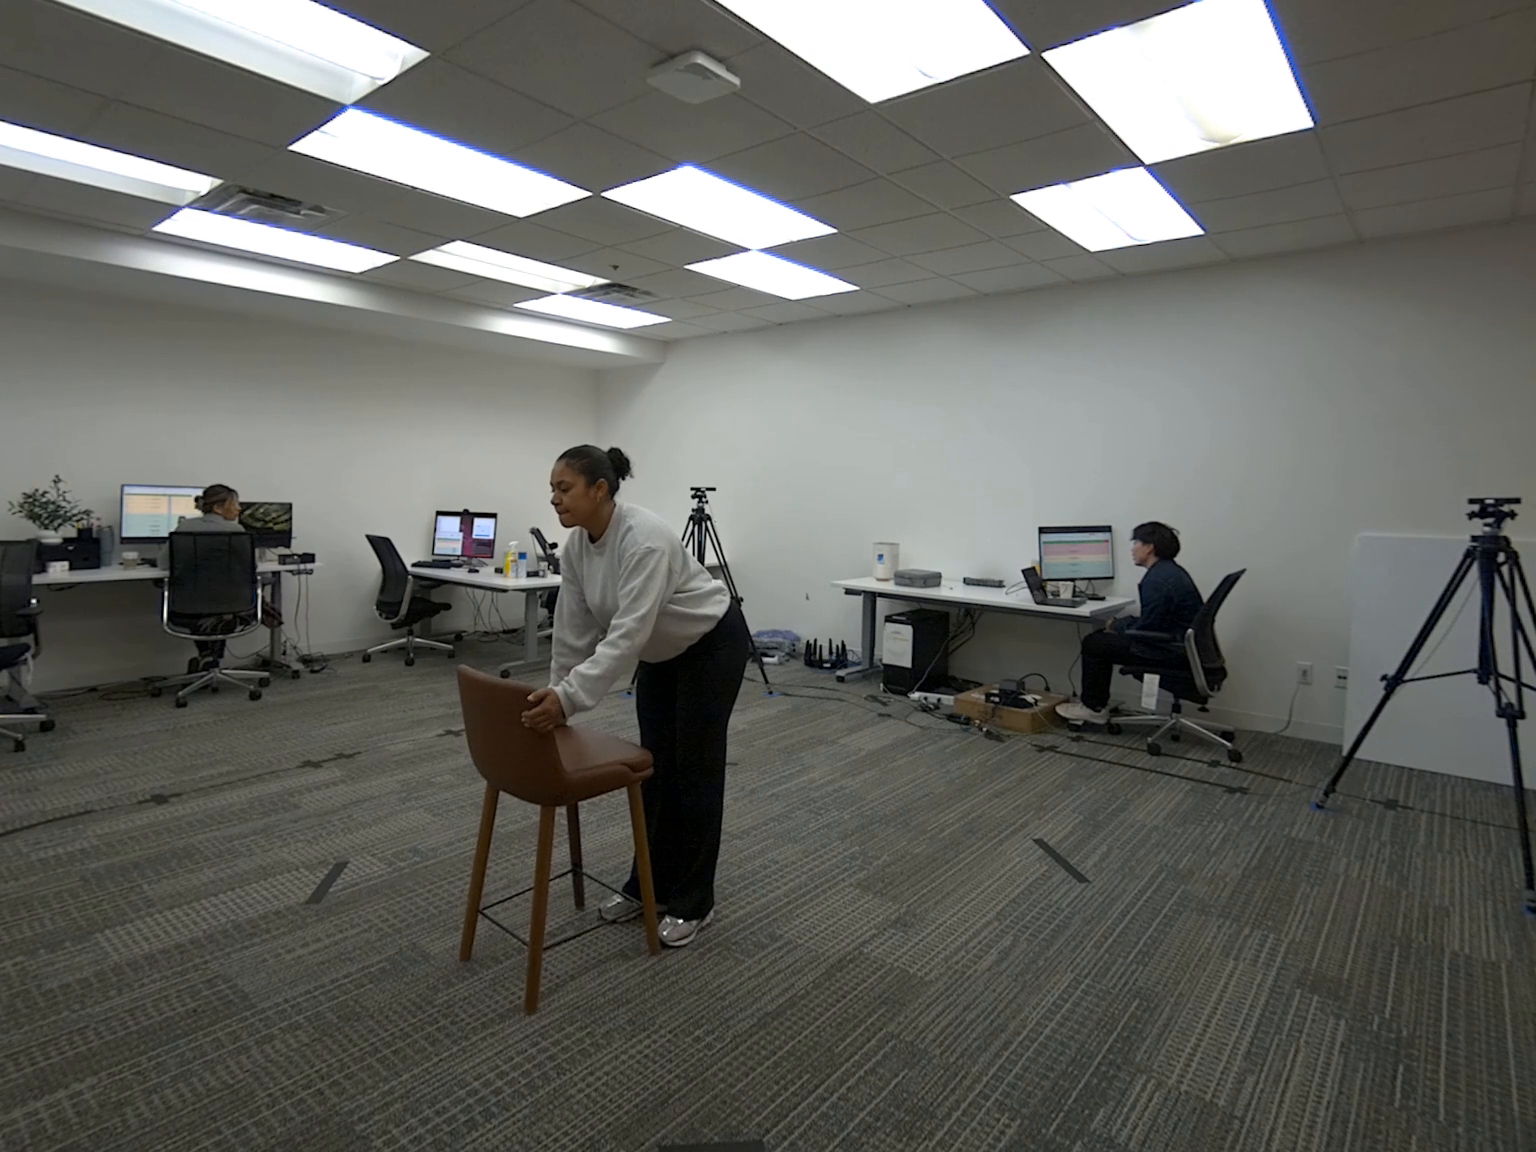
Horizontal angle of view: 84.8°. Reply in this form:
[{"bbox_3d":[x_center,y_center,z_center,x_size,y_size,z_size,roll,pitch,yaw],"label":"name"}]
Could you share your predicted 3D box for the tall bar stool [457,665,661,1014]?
[{"bbox_3d":[-0.623,0.676,2.484,0.472,0.886,0.454,4,6,43],"label":"tall bar stool"}]
